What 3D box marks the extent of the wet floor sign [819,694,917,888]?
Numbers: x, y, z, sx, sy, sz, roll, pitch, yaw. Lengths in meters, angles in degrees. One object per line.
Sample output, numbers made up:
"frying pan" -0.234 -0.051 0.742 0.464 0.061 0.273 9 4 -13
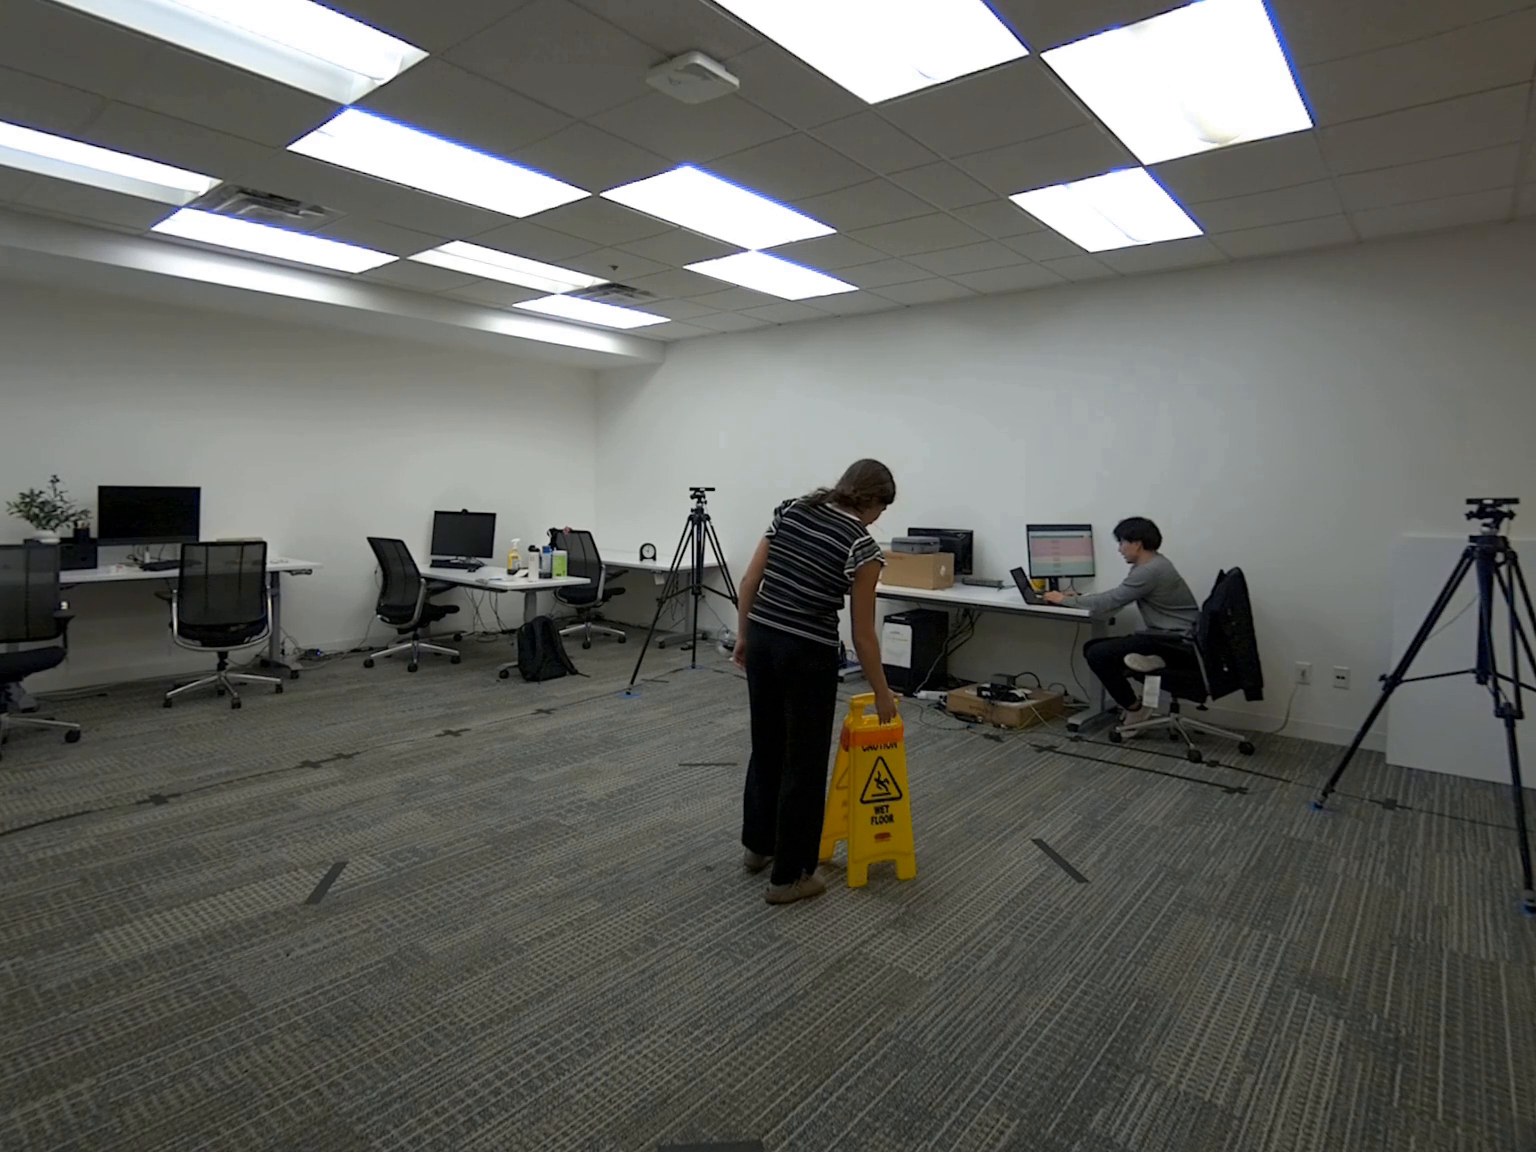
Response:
"wet floor sign" 0.361 0.752 3.117 0.275 0.643 0.298 1 5 -25
